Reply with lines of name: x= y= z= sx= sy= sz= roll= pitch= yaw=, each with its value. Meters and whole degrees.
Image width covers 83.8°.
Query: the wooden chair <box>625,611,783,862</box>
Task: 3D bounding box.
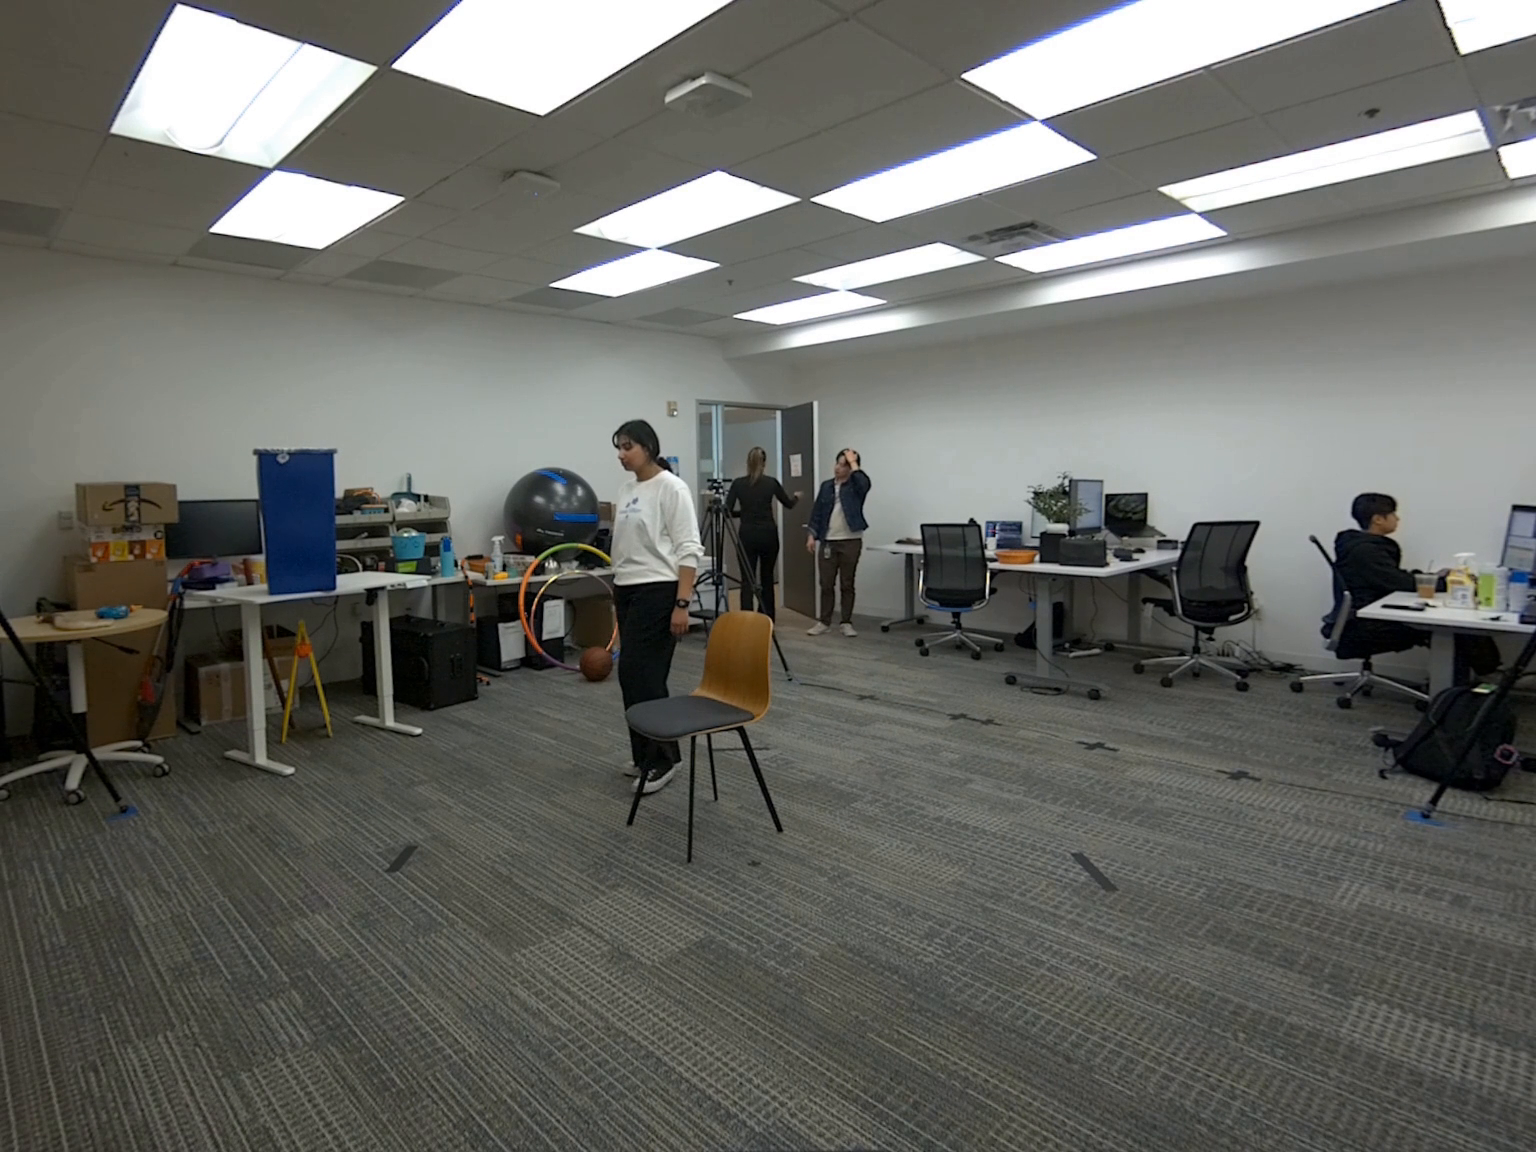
wooden chair: x=-0.266 y=0.587 z=3.390 sx=0.508 sy=0.876 sz=0.492 roll=1 pitch=2 yaw=-38
